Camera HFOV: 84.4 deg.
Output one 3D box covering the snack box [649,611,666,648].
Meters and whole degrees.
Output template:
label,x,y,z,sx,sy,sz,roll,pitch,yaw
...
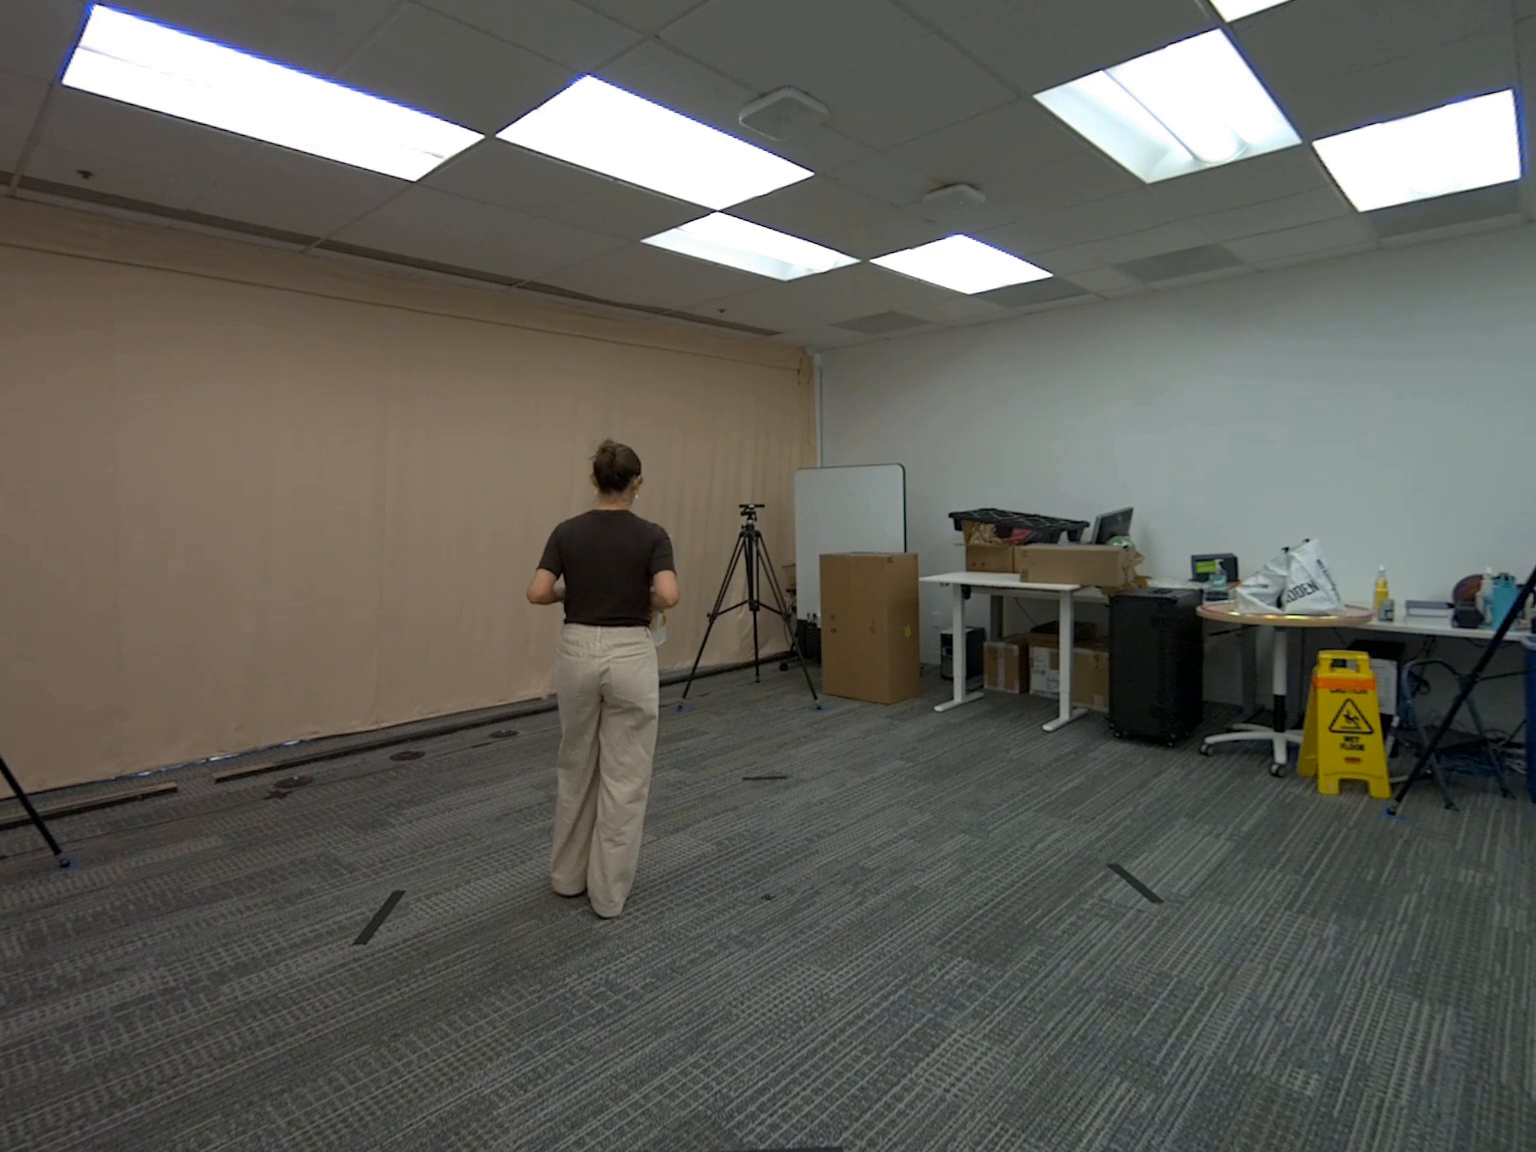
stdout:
label,x,y,z,sx,sy,sz,roll,pitch,yaw
snack box,-0.558,0.038,3.177,0.342,0.404,0.205,3,4,4
